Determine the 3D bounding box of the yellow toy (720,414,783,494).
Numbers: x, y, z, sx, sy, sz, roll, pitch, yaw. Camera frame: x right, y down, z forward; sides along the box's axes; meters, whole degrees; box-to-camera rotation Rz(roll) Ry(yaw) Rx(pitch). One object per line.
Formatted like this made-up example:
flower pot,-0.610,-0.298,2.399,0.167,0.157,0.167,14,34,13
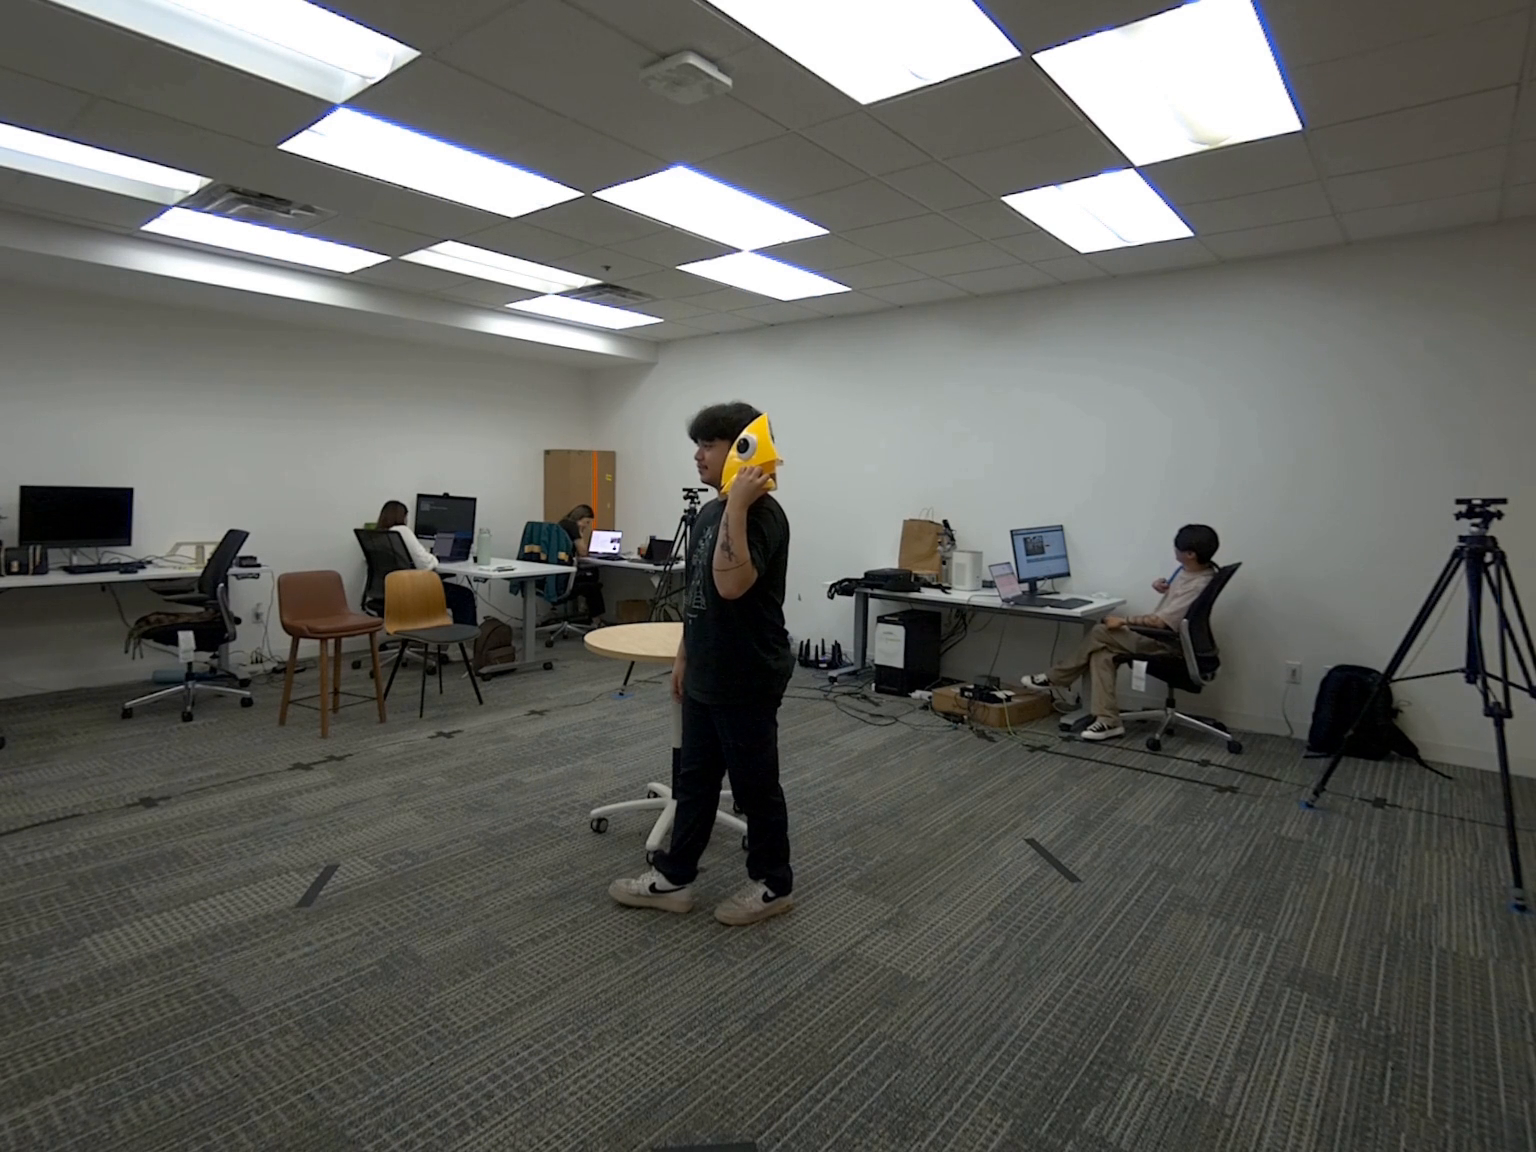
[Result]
yellow toy,-0.062,-0.376,2.562,0.194,0.231,0.203,-5,0,5
